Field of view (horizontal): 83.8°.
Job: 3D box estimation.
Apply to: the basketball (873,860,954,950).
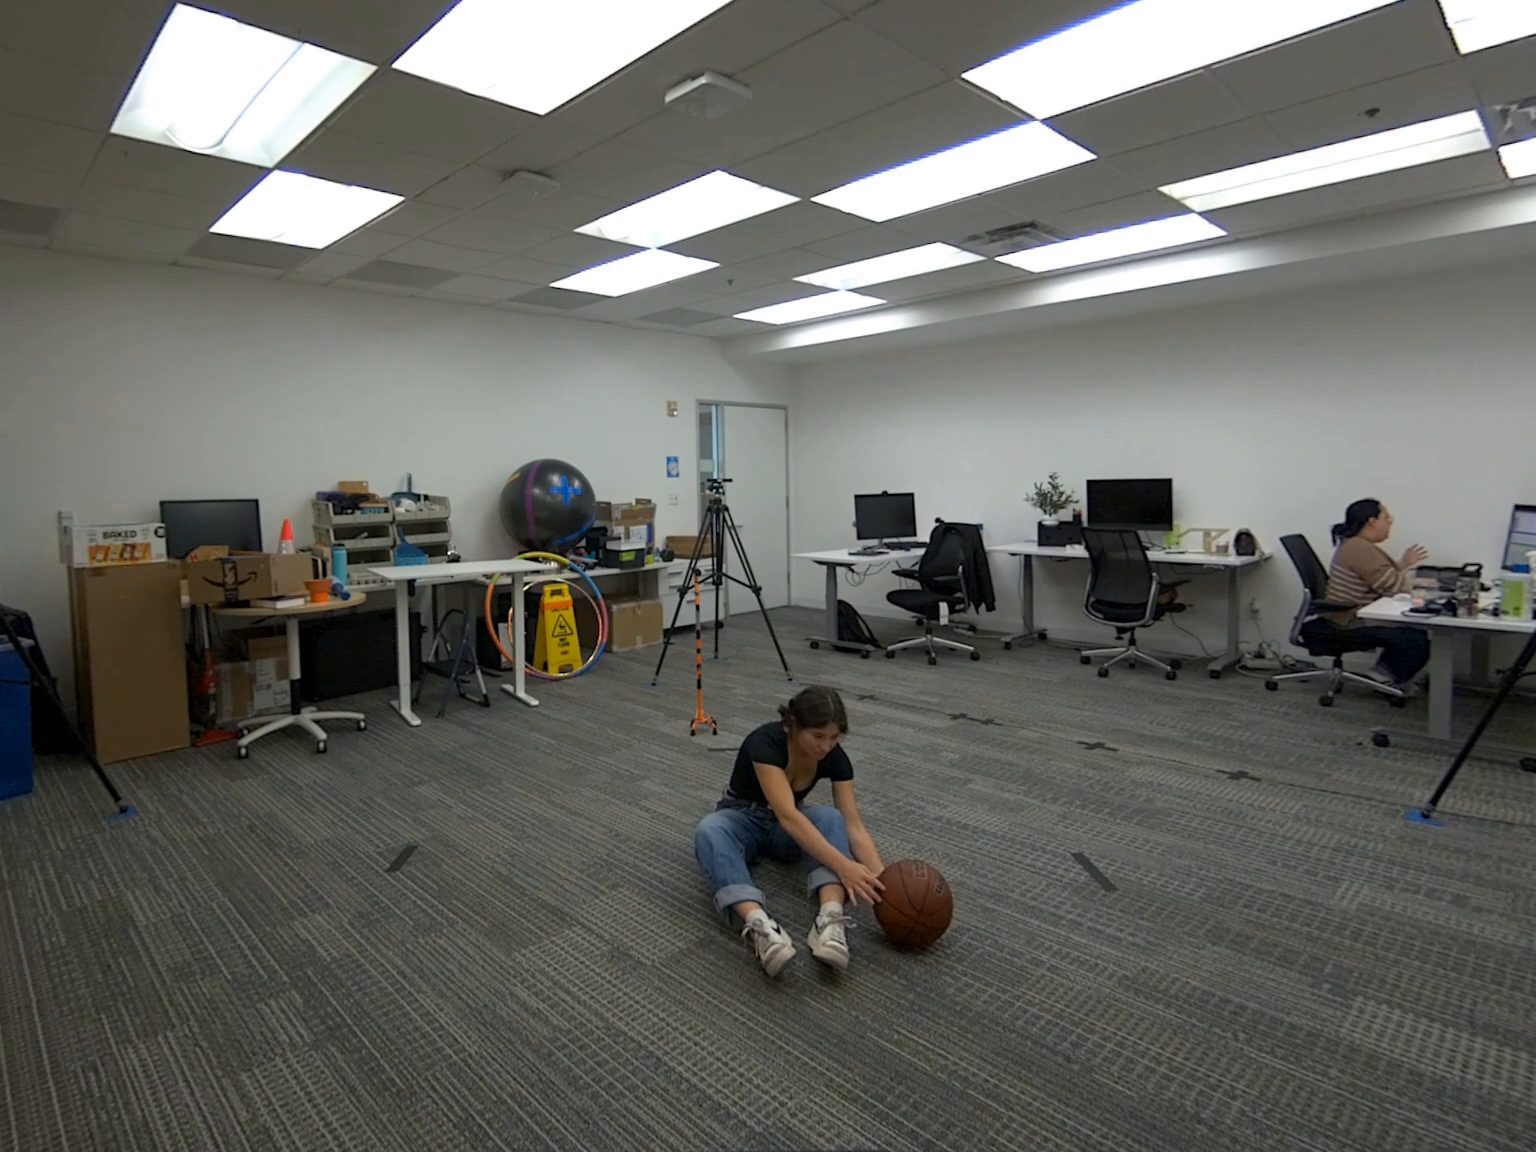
[{"bbox_3d":[0.436,0.972,2.565,0.236,0.235,0.237,-1,5,-2],"label":"basketball"}]
